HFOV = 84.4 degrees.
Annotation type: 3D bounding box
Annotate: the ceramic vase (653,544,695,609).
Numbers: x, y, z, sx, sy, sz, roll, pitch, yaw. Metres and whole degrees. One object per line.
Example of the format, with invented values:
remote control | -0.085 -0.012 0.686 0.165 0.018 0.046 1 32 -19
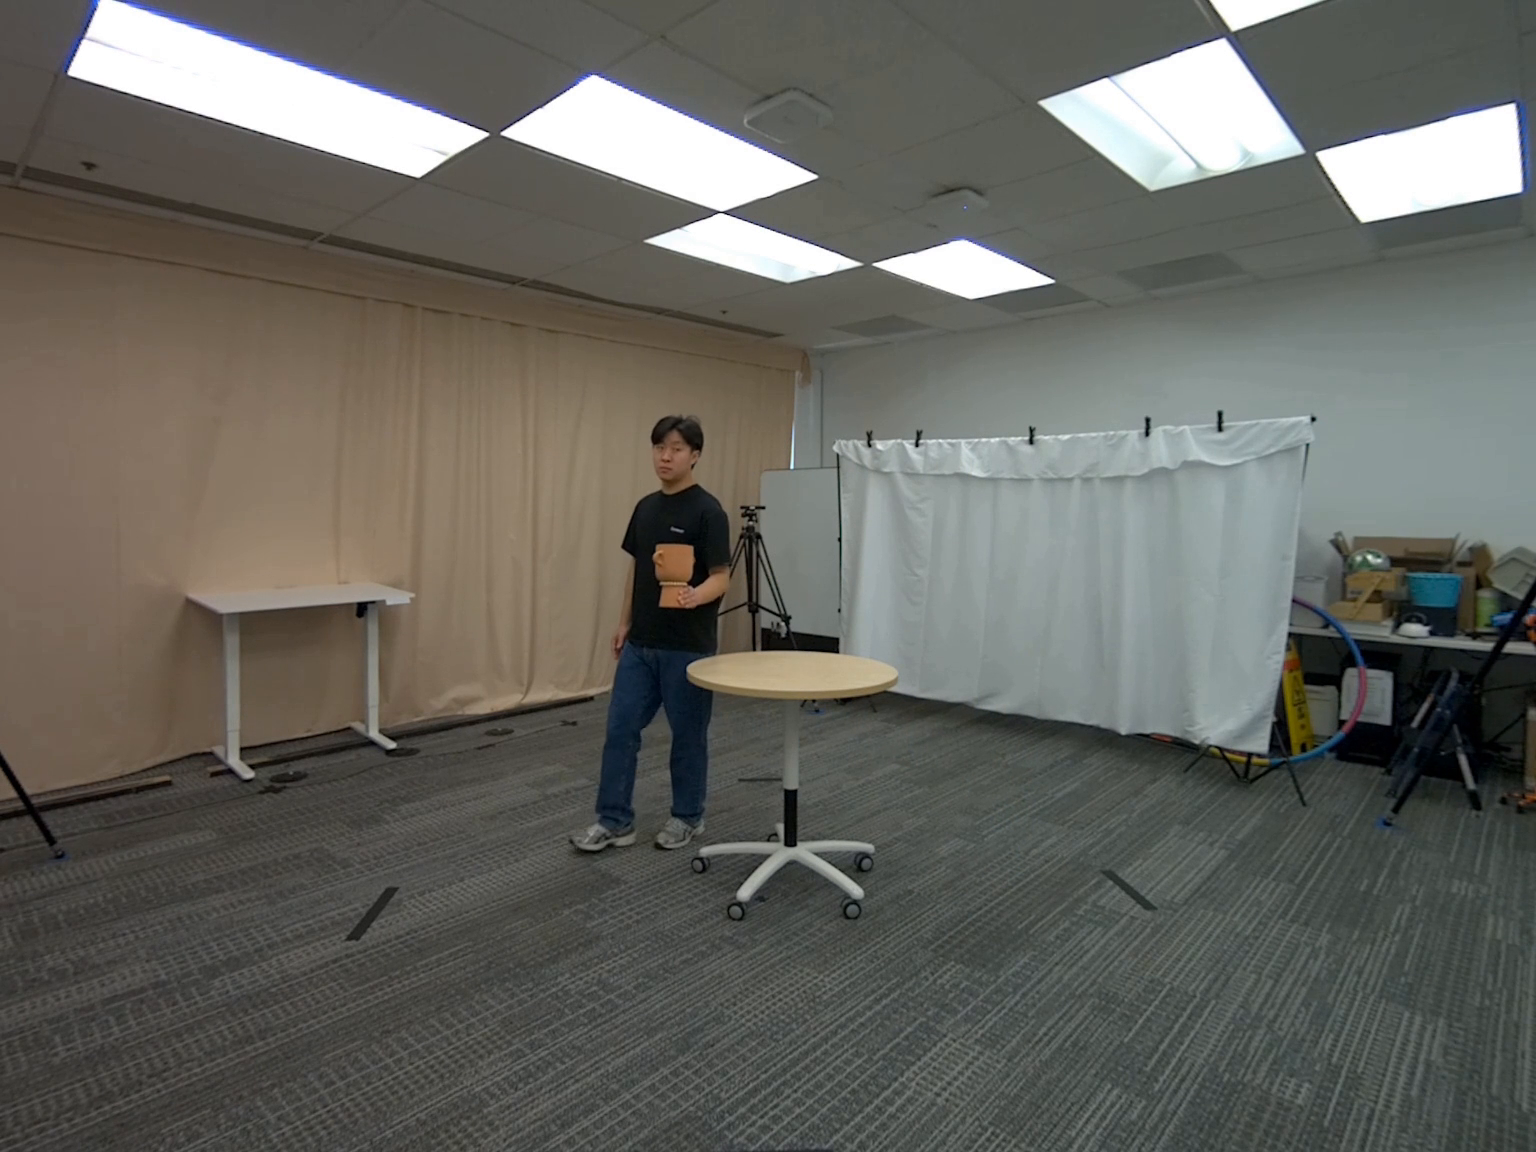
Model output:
ceramic vase | -0.336 -0.001 3.018 0.157 0.220 0.135 1 -2 -8
